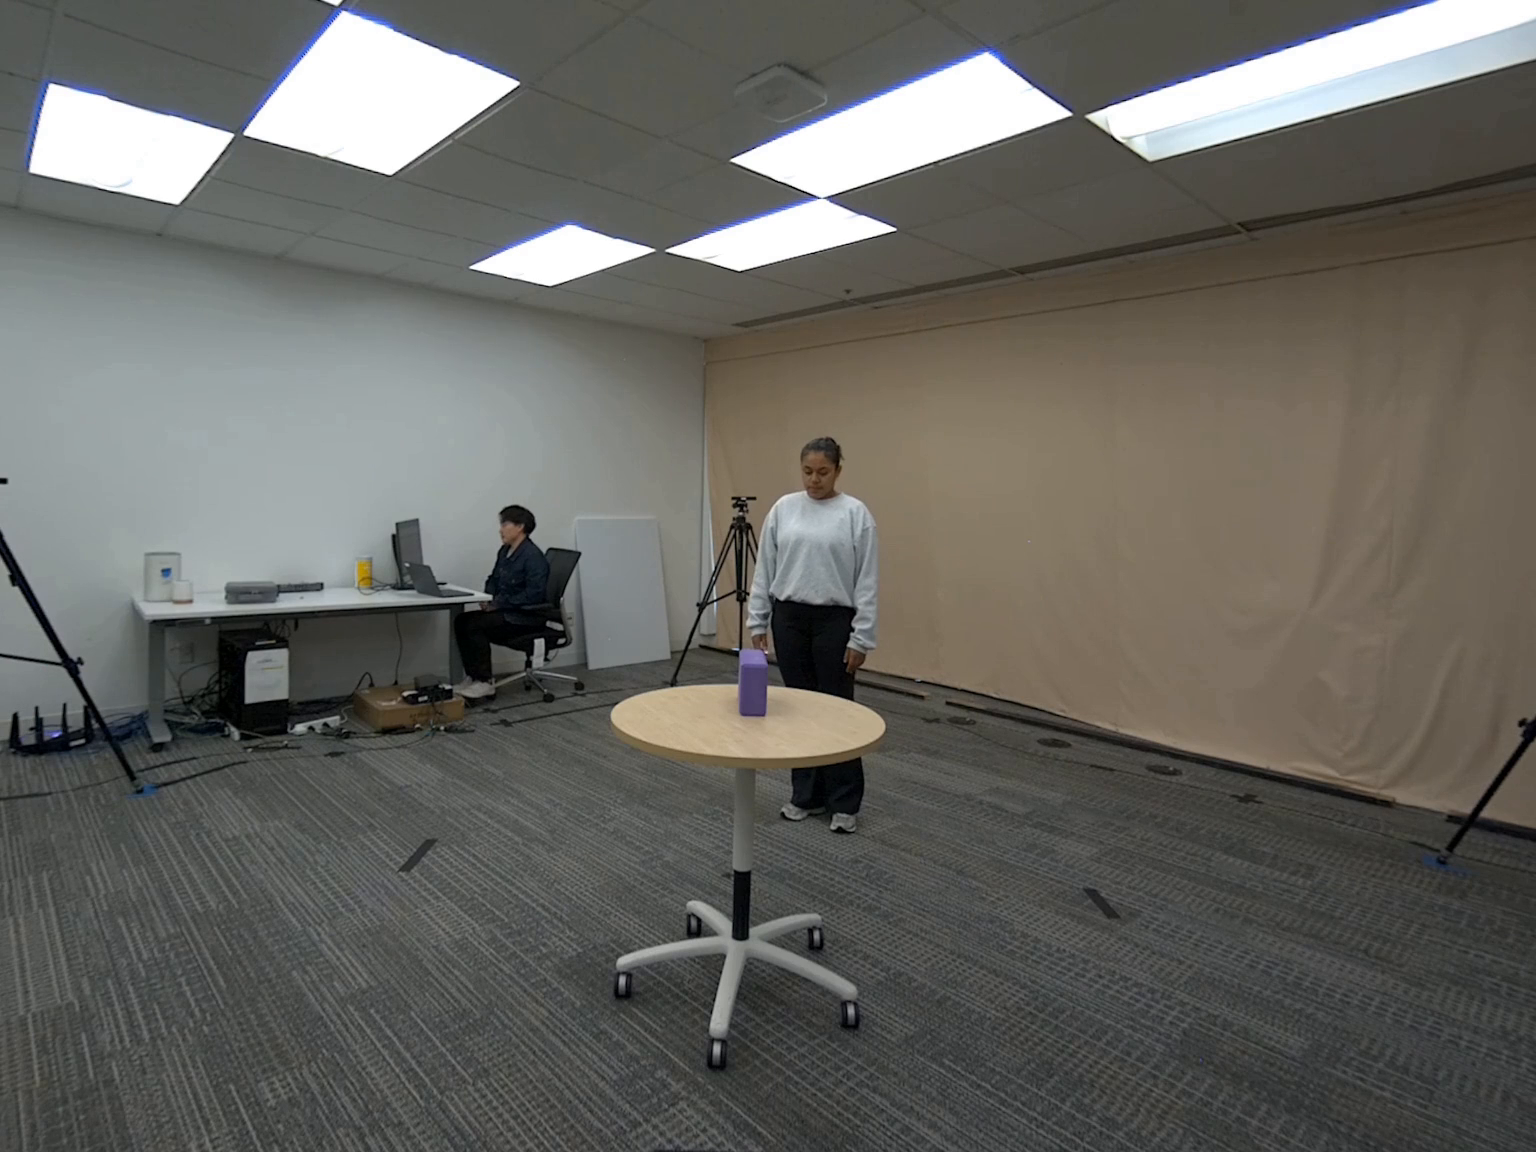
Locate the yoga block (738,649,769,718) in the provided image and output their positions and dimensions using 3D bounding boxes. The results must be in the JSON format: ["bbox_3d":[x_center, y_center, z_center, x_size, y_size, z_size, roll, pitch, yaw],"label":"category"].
[{"bbox_3d":[-0.052,0.313,2.463,0.076,0.148,0.230,3,5,0],"label":"yoga block"}]
